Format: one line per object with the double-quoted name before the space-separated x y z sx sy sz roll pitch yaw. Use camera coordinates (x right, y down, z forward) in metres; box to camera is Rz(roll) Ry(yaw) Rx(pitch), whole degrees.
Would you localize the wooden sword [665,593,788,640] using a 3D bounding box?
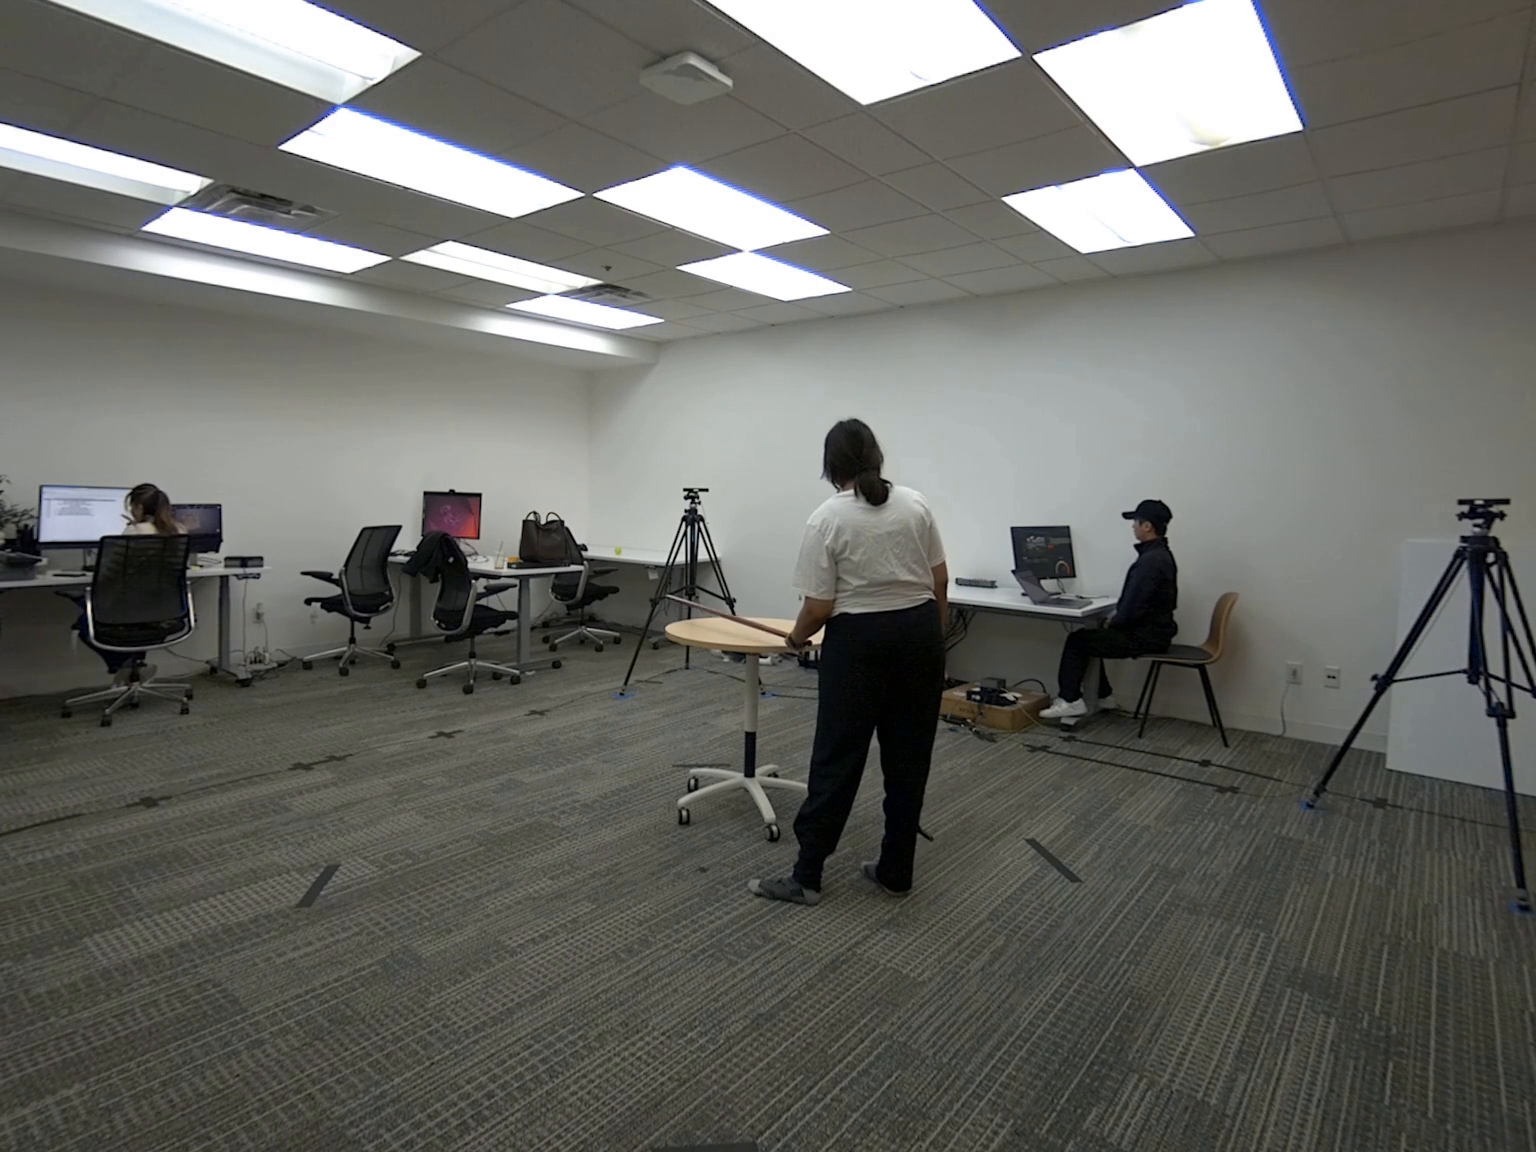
"wooden sword" -0.148 0.181 3.541 0.050 0.024 1.059 -2 9 -32
